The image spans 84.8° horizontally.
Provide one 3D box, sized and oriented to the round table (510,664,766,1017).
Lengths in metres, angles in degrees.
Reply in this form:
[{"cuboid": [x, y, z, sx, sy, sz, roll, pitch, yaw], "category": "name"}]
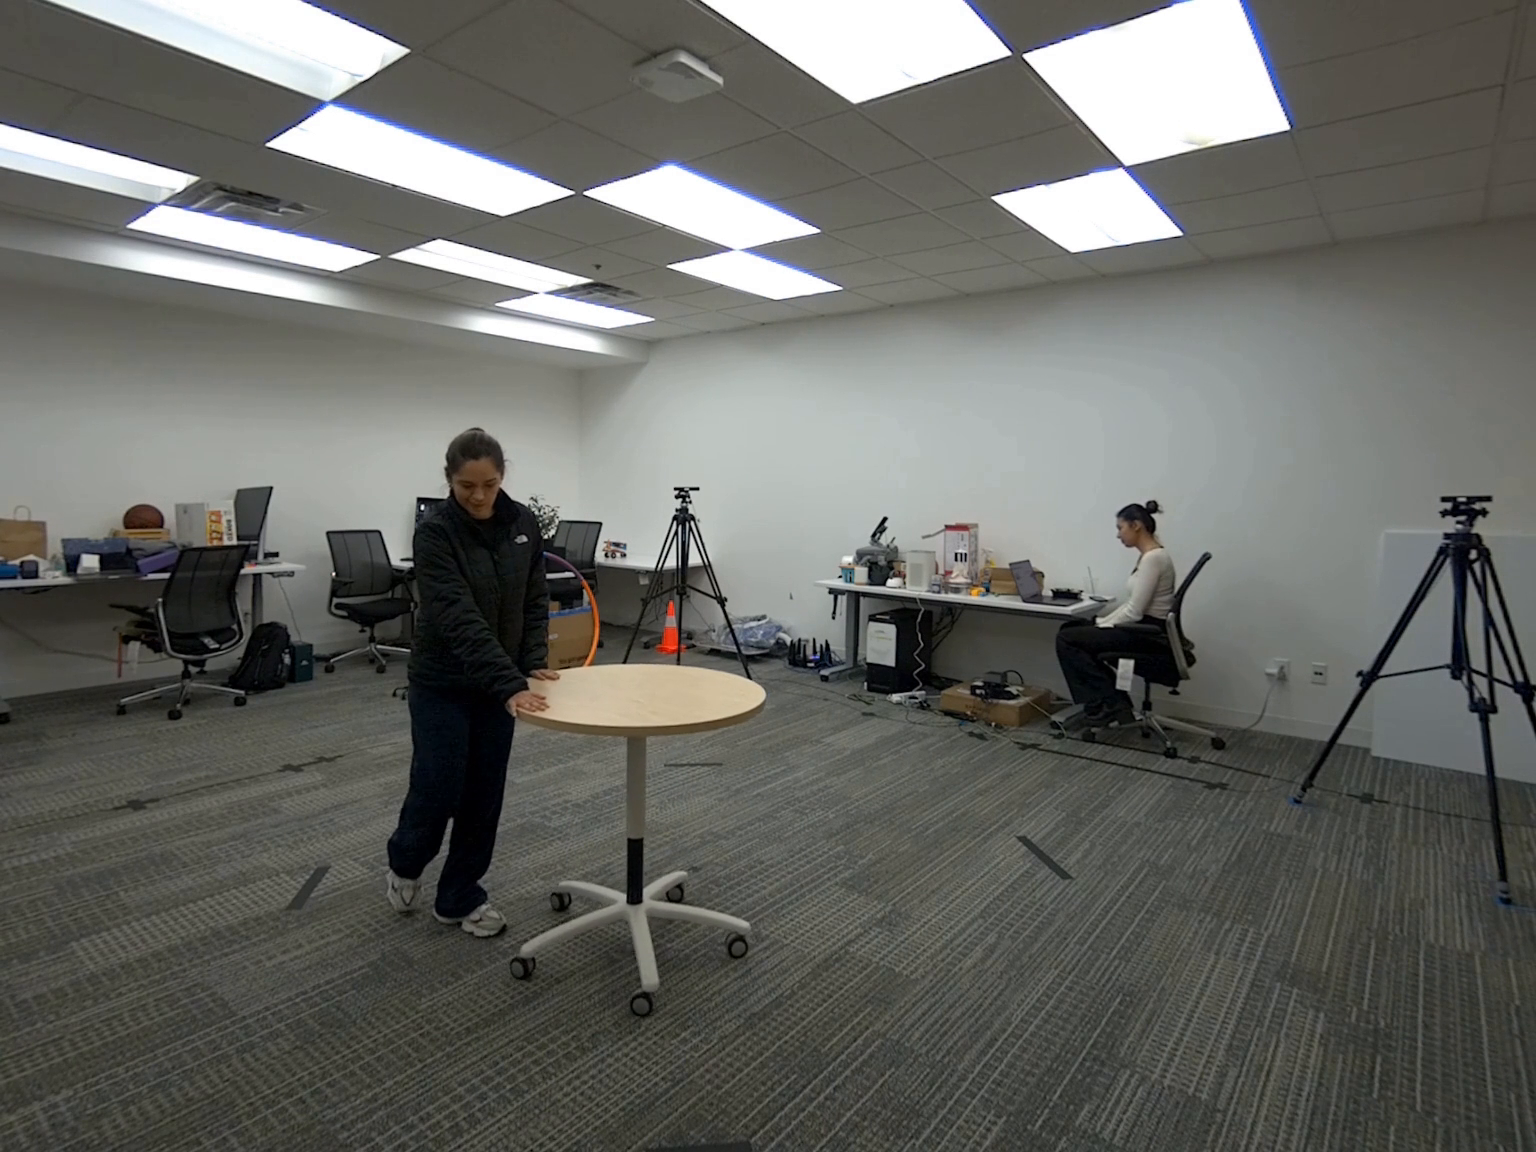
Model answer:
[{"cuboid": [-0.405, 0.725, 2.559, 0.784, 0.784, 0.789, 1, 4, -2], "category": "round table"}]
